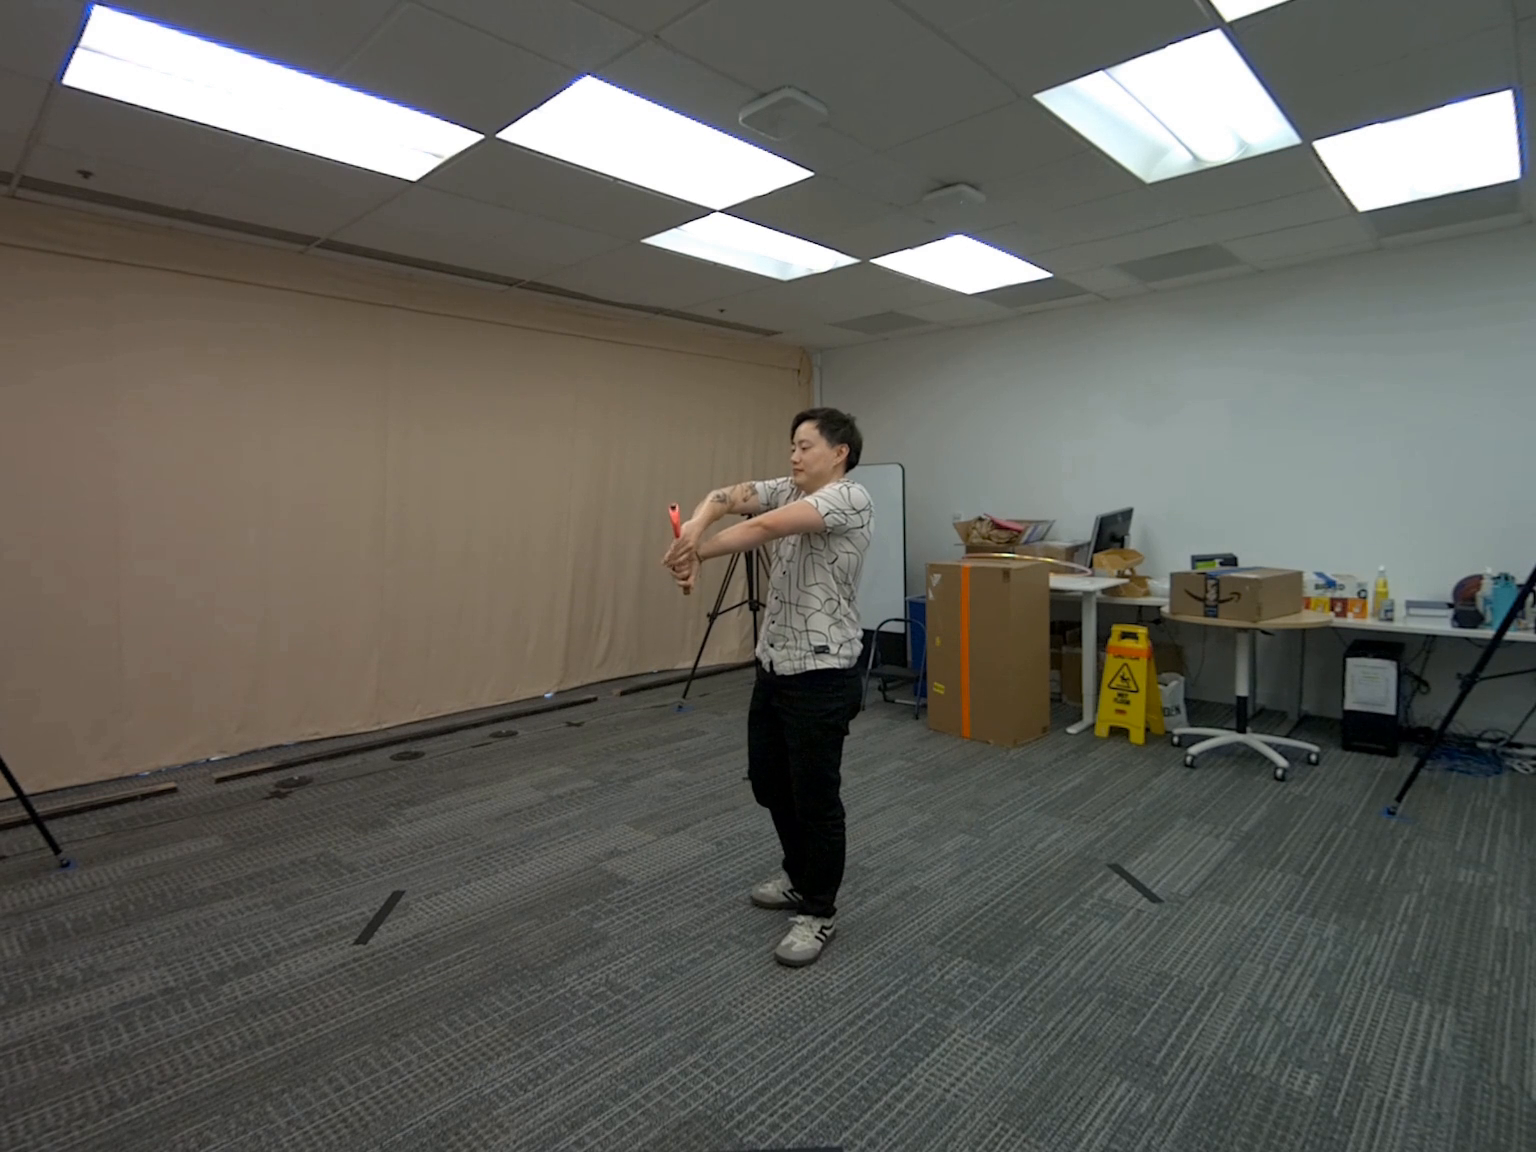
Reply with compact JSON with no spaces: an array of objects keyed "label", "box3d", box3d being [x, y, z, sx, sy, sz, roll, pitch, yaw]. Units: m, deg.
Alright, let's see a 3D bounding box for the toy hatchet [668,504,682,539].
[{"label":"toy hatchet","box3d":[-0.246,-0.073,2.372,0.029,0.269,0.131,-9,5,-1]}]
